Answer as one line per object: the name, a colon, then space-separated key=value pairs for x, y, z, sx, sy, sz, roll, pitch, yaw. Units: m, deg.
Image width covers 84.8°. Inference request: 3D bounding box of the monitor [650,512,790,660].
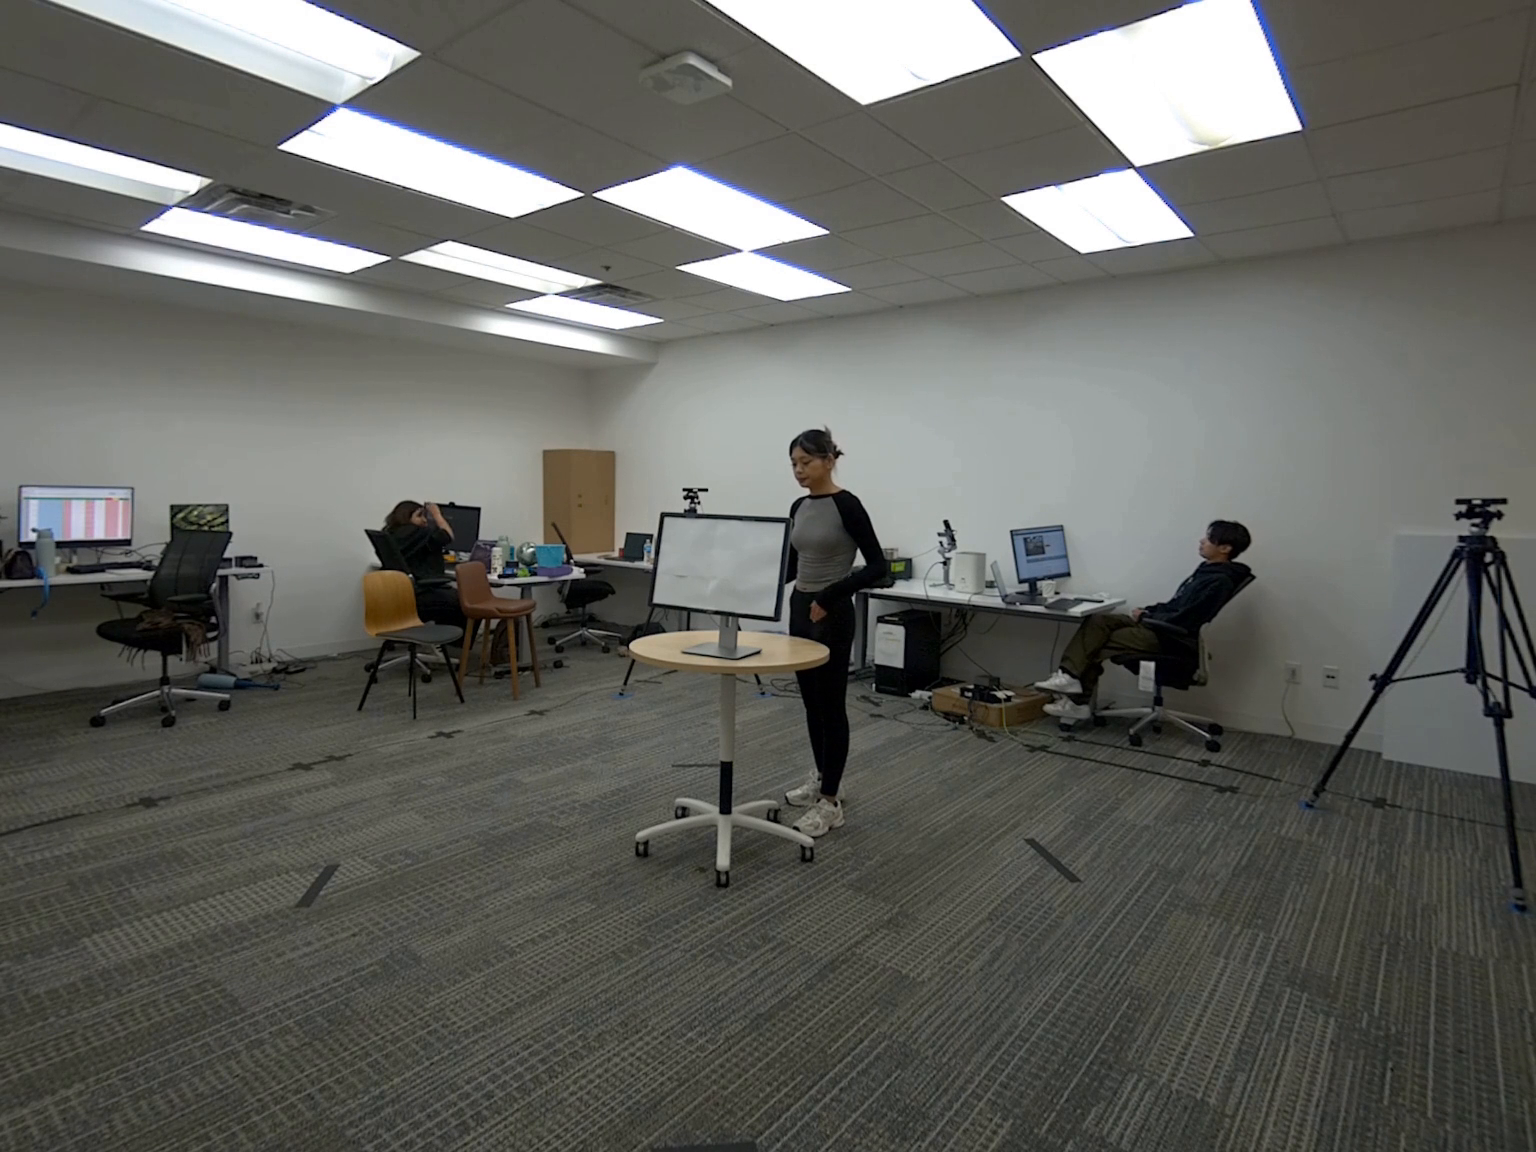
monitor: x=-0.179 y=0.035 z=3.112 sx=0.546 sy=0.511 sz=0.171 roll=6 pitch=12 yaw=31
